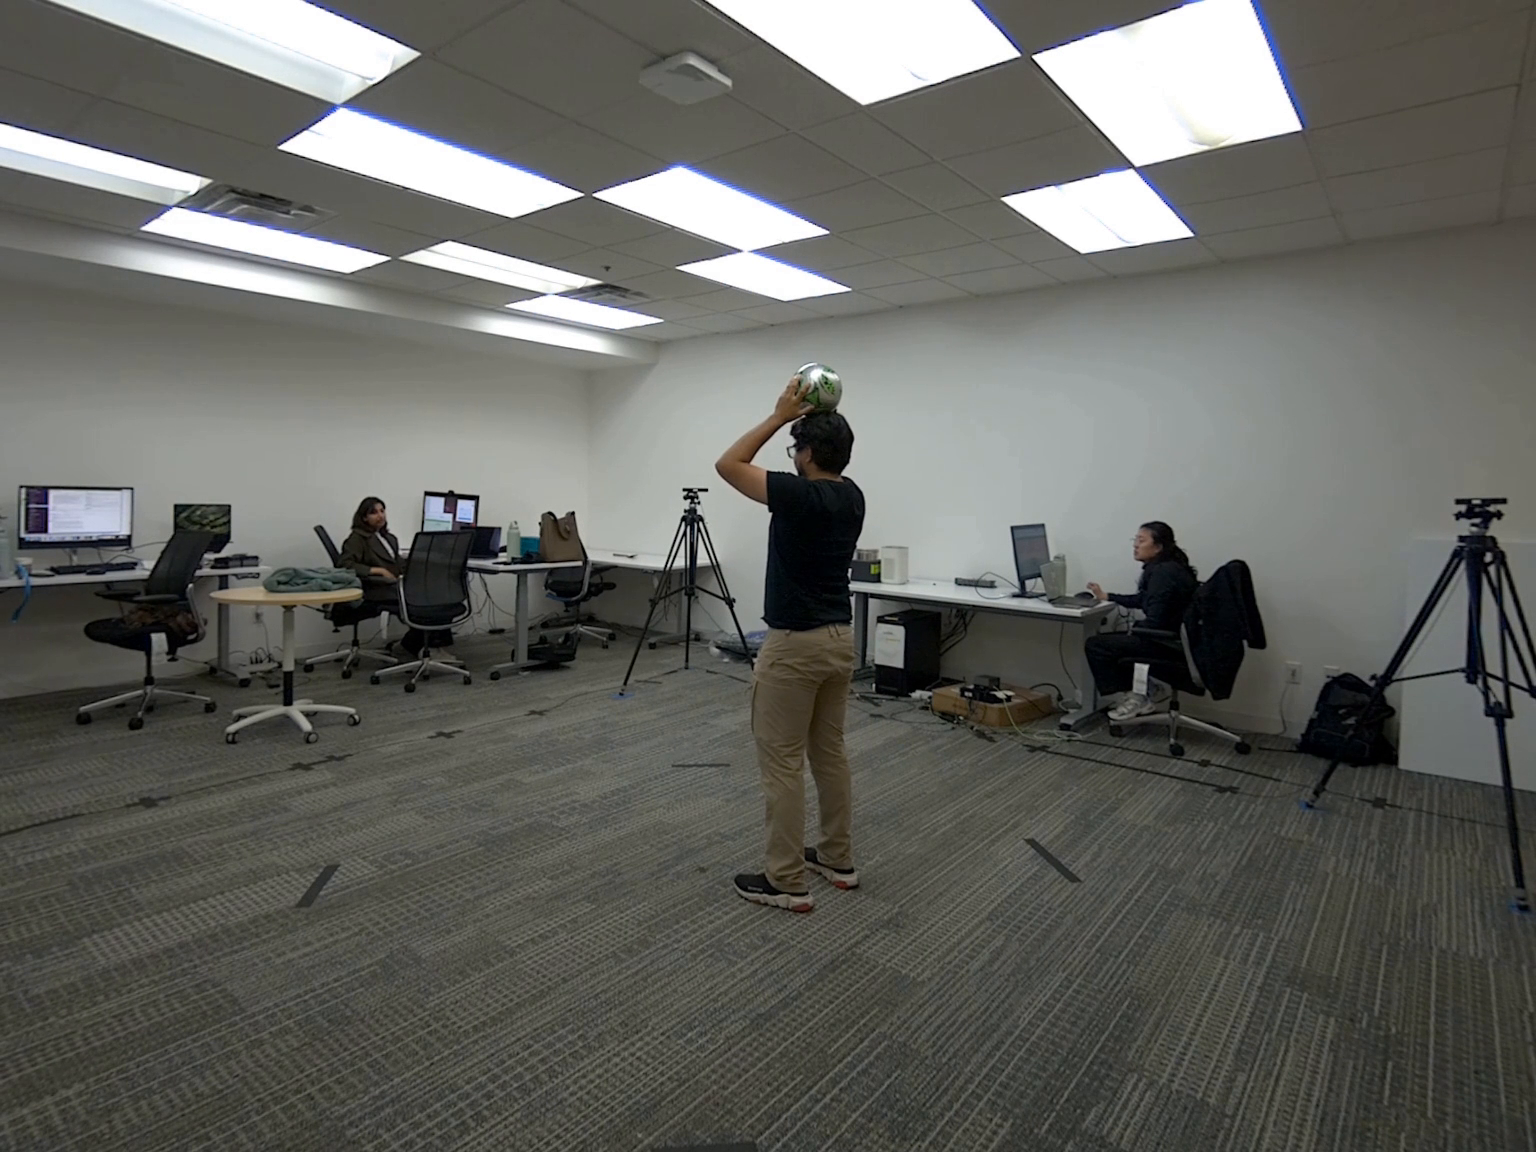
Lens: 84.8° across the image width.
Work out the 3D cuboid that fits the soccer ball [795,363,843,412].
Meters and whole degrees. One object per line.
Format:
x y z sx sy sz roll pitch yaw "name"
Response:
0.160 -0.650 2.984 0.187 0.187 0.188 1 4 -2 "soccer ball"
